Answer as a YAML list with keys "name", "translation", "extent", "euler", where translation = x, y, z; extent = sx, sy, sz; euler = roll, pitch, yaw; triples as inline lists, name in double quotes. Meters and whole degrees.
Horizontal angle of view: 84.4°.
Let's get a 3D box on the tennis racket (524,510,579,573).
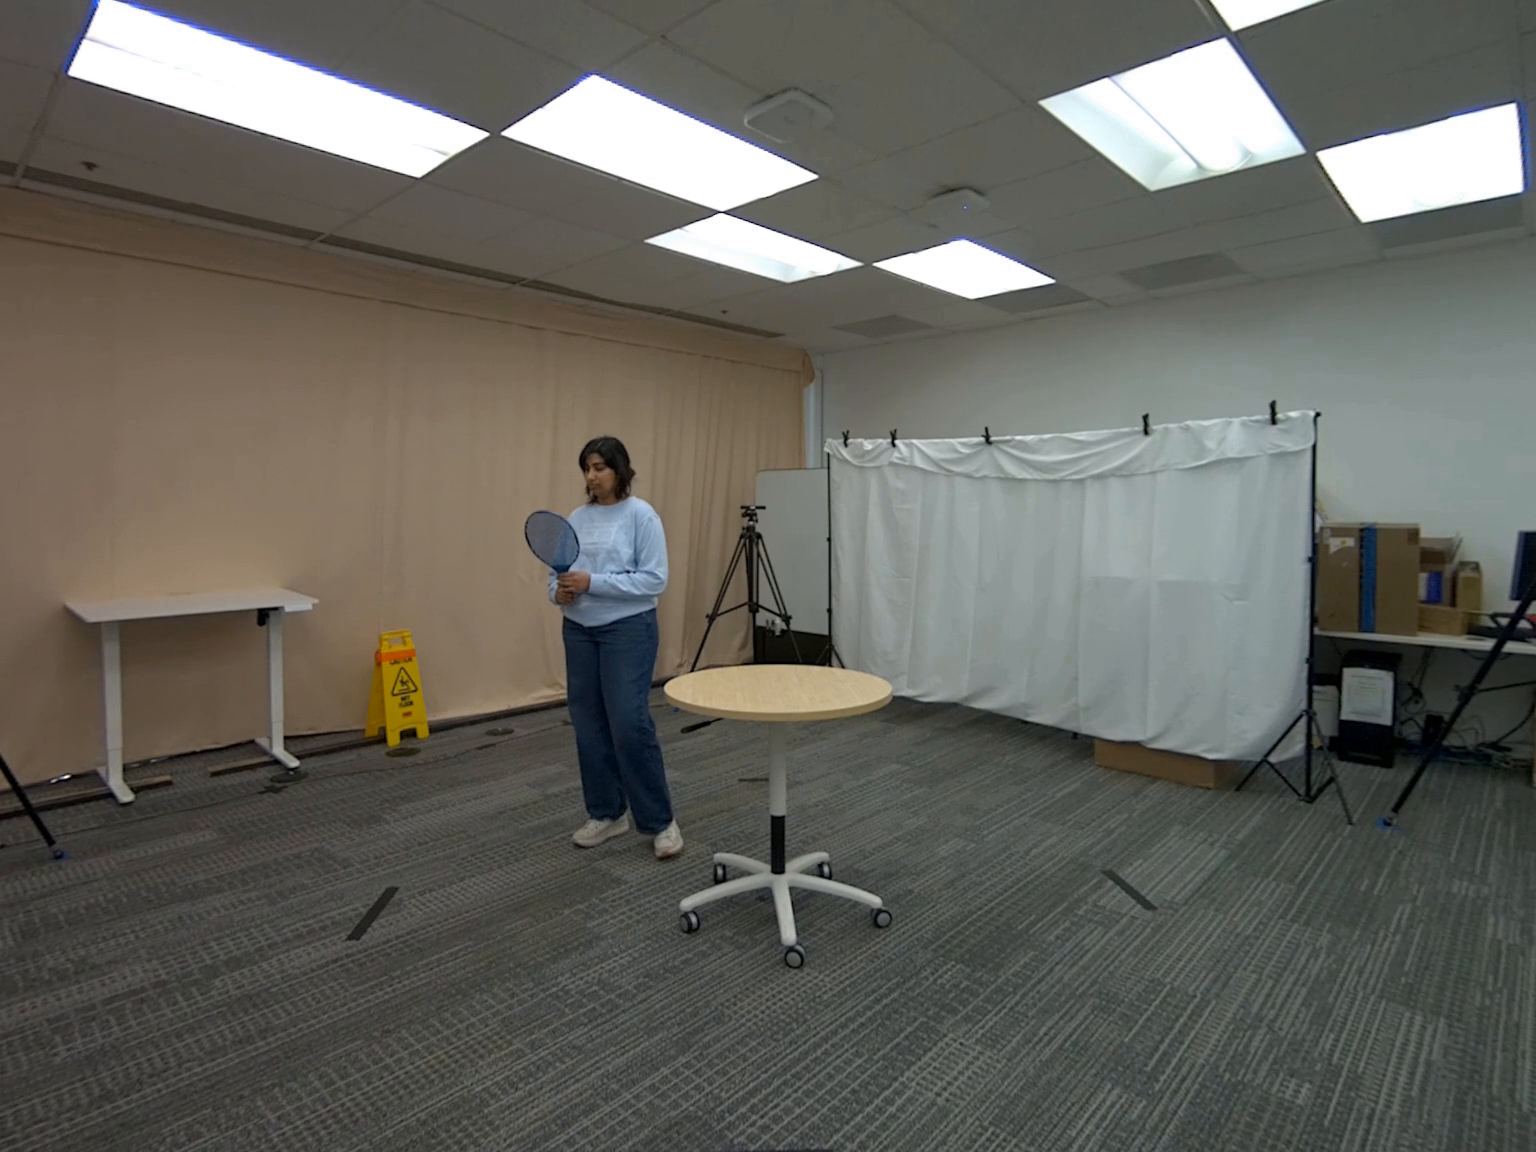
- name: "tennis racket"
  translation: [-0.806, -0.074, 3.251]
  extent: [0.217, 0.423, 0.032]
  euler: [-1, 36, 16]
